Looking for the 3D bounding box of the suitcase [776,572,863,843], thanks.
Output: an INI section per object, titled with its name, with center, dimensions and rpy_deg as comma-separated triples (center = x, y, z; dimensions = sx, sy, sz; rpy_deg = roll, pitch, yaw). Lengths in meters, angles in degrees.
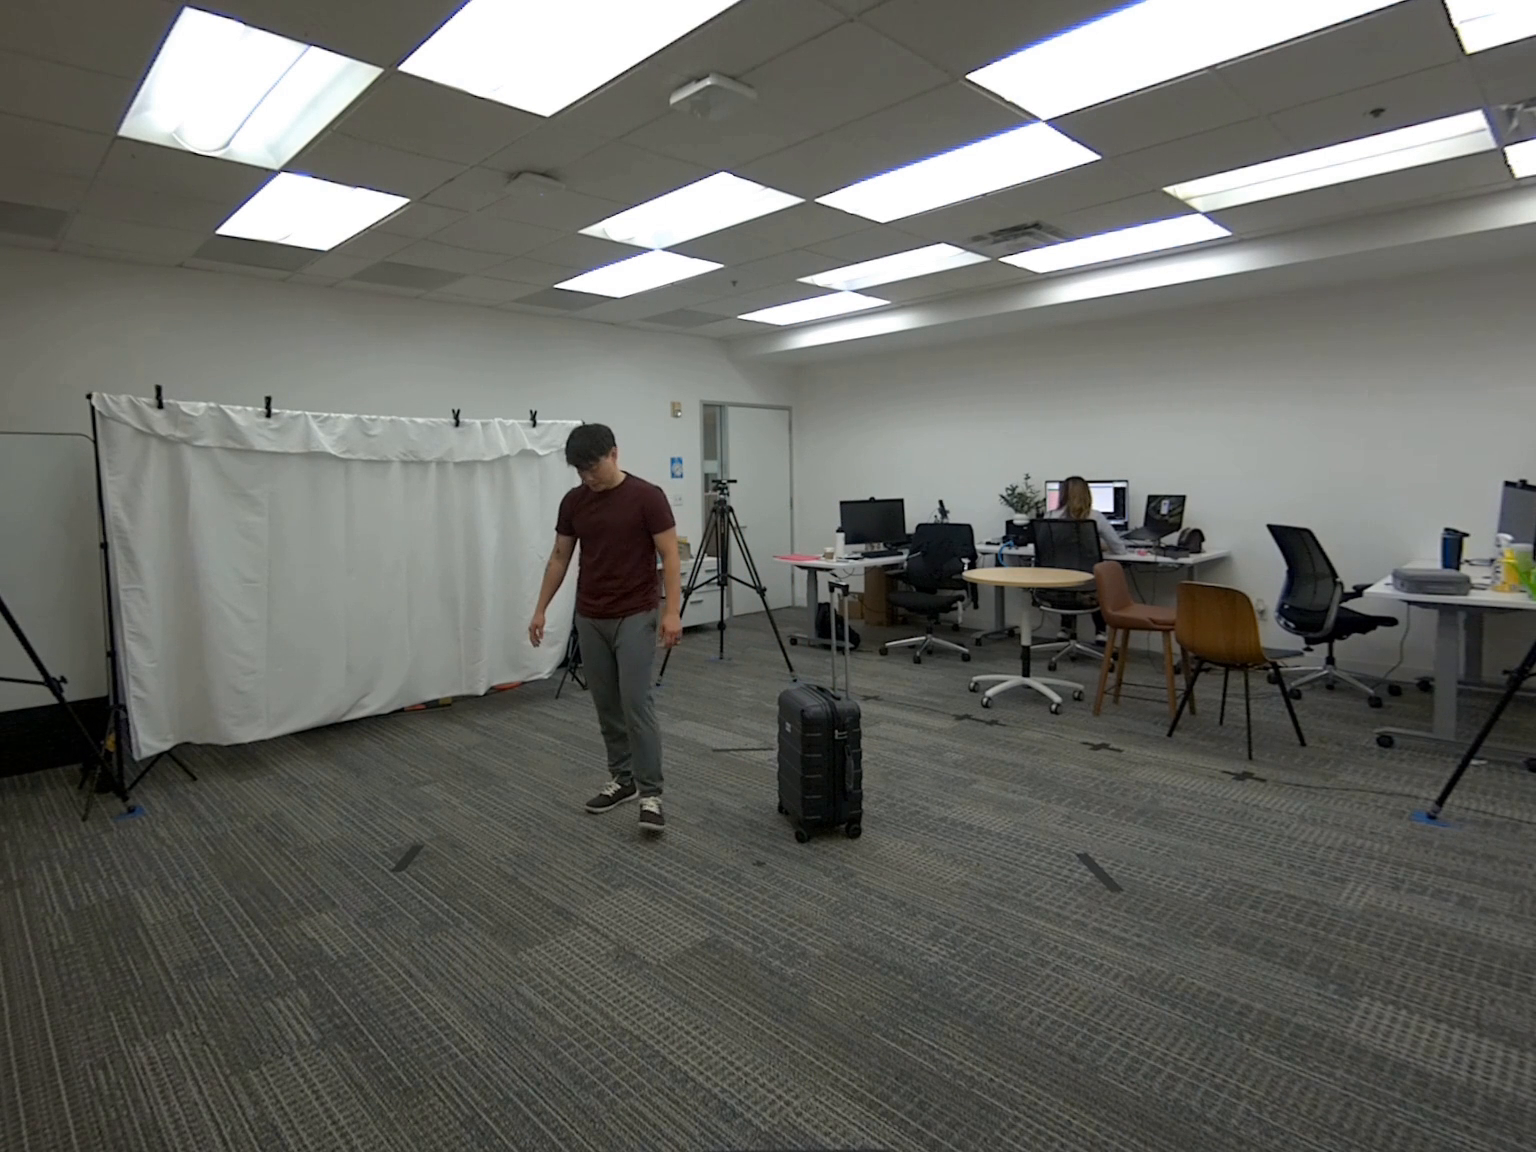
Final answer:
[suitcase]
center = 0.203, 0.532, 3.419
dimensions = 0.254, 0.976, 0.389
rpy_deg = -3, 3, -13
